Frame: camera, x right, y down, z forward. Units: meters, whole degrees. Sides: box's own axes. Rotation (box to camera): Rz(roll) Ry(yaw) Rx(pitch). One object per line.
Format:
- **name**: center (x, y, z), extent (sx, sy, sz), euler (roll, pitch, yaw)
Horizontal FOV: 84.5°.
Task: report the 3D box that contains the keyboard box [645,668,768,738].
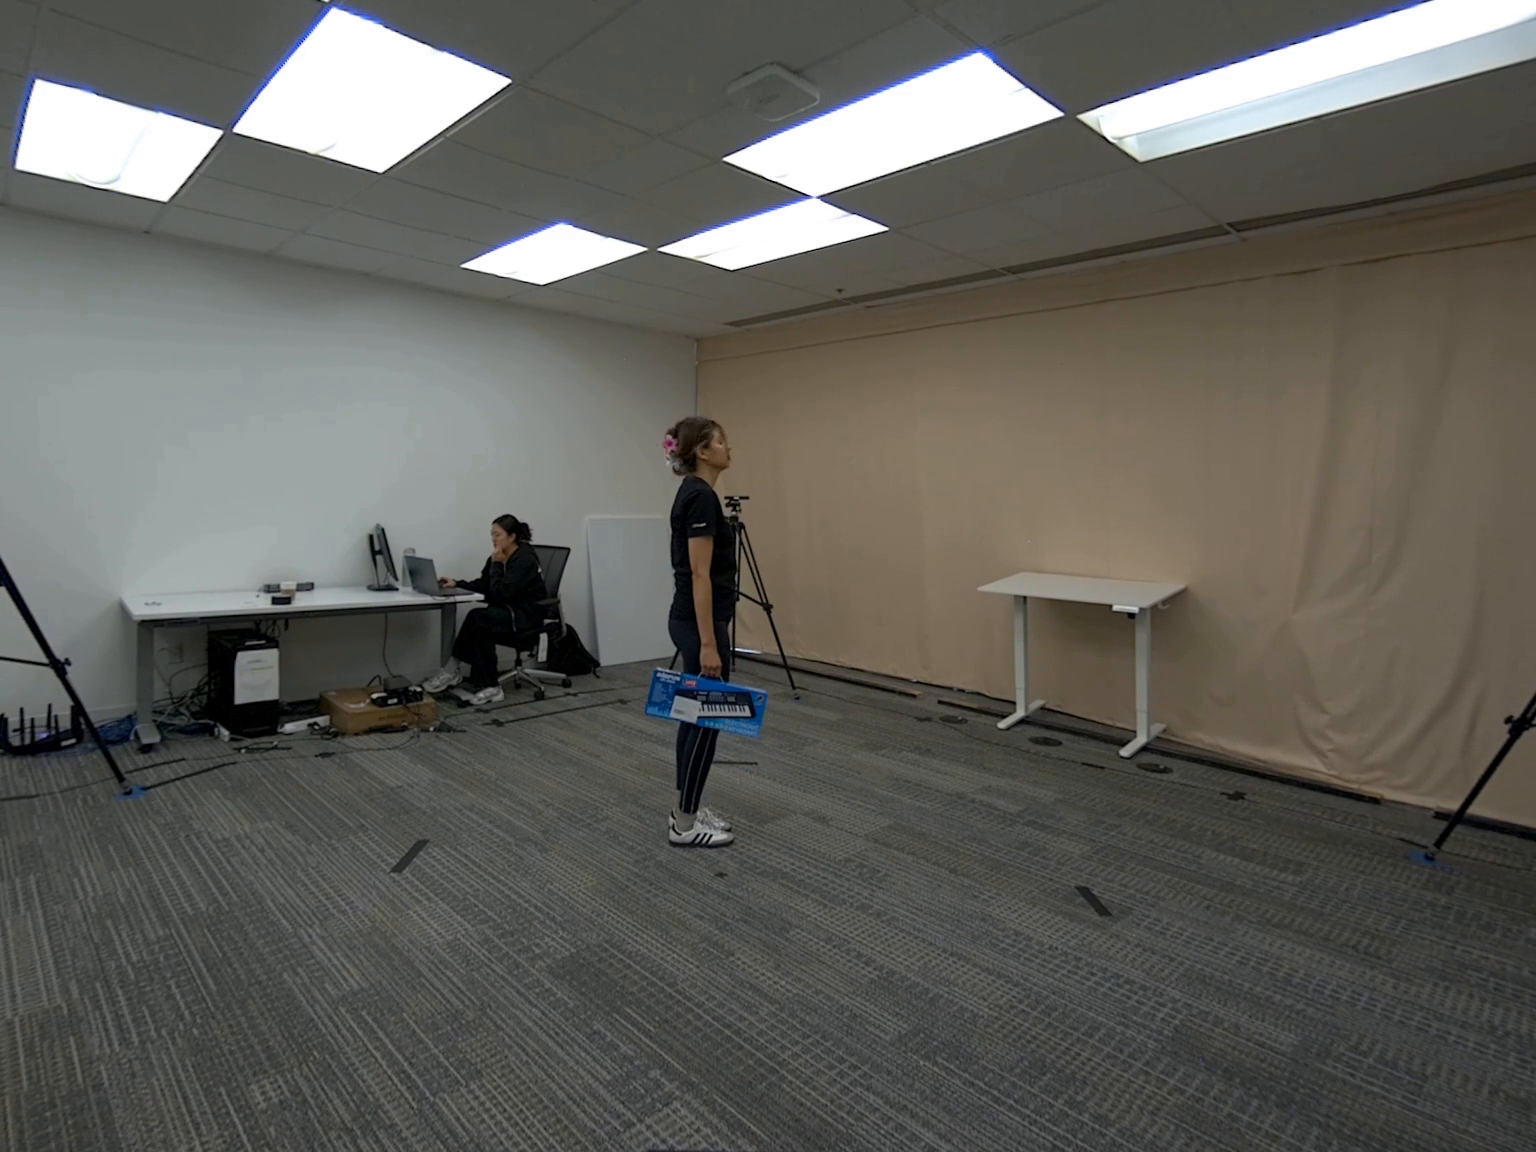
- **keyboard box**: center (-0.240, 0.479, 3.168), extent (0.435, 0.176, 0.059), euler (13, 1, -5)
